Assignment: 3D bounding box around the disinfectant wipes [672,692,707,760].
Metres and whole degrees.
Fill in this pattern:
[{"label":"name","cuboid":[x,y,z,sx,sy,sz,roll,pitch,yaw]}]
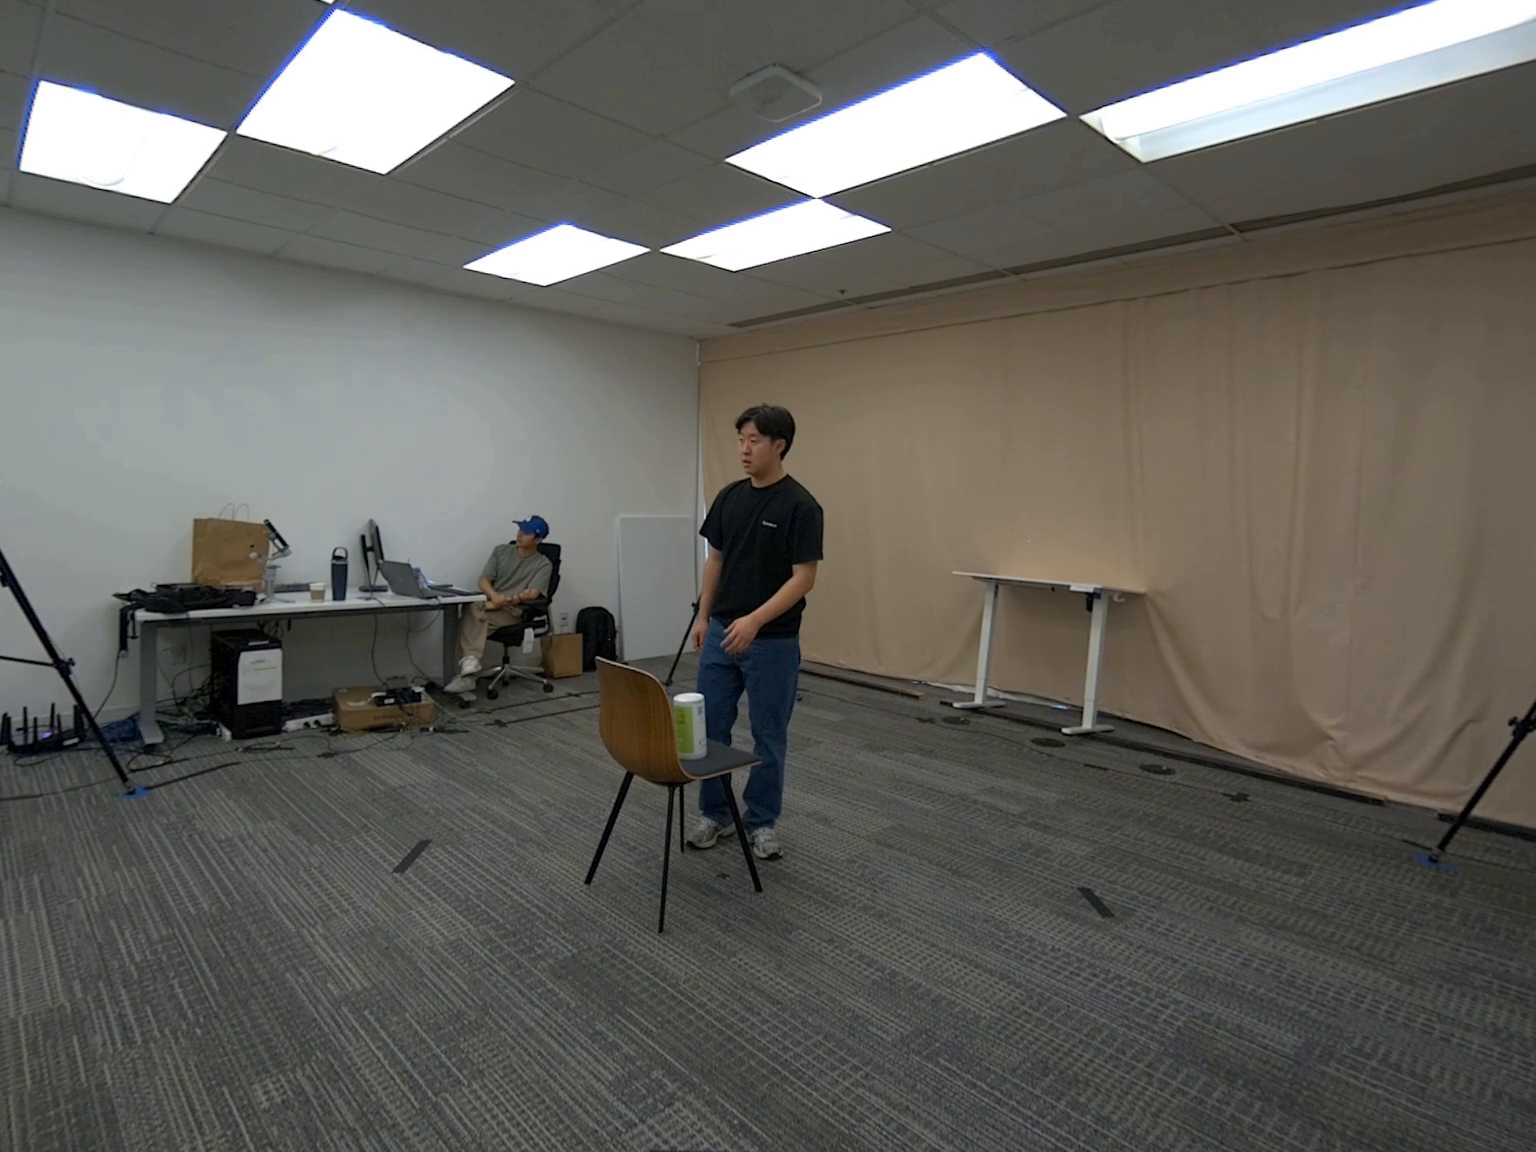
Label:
[{"label":"disinfectant wipes","cuboid":[-0.279,0.534,2.977,0.118,0.217,0.118,-2,5,-1]}]
